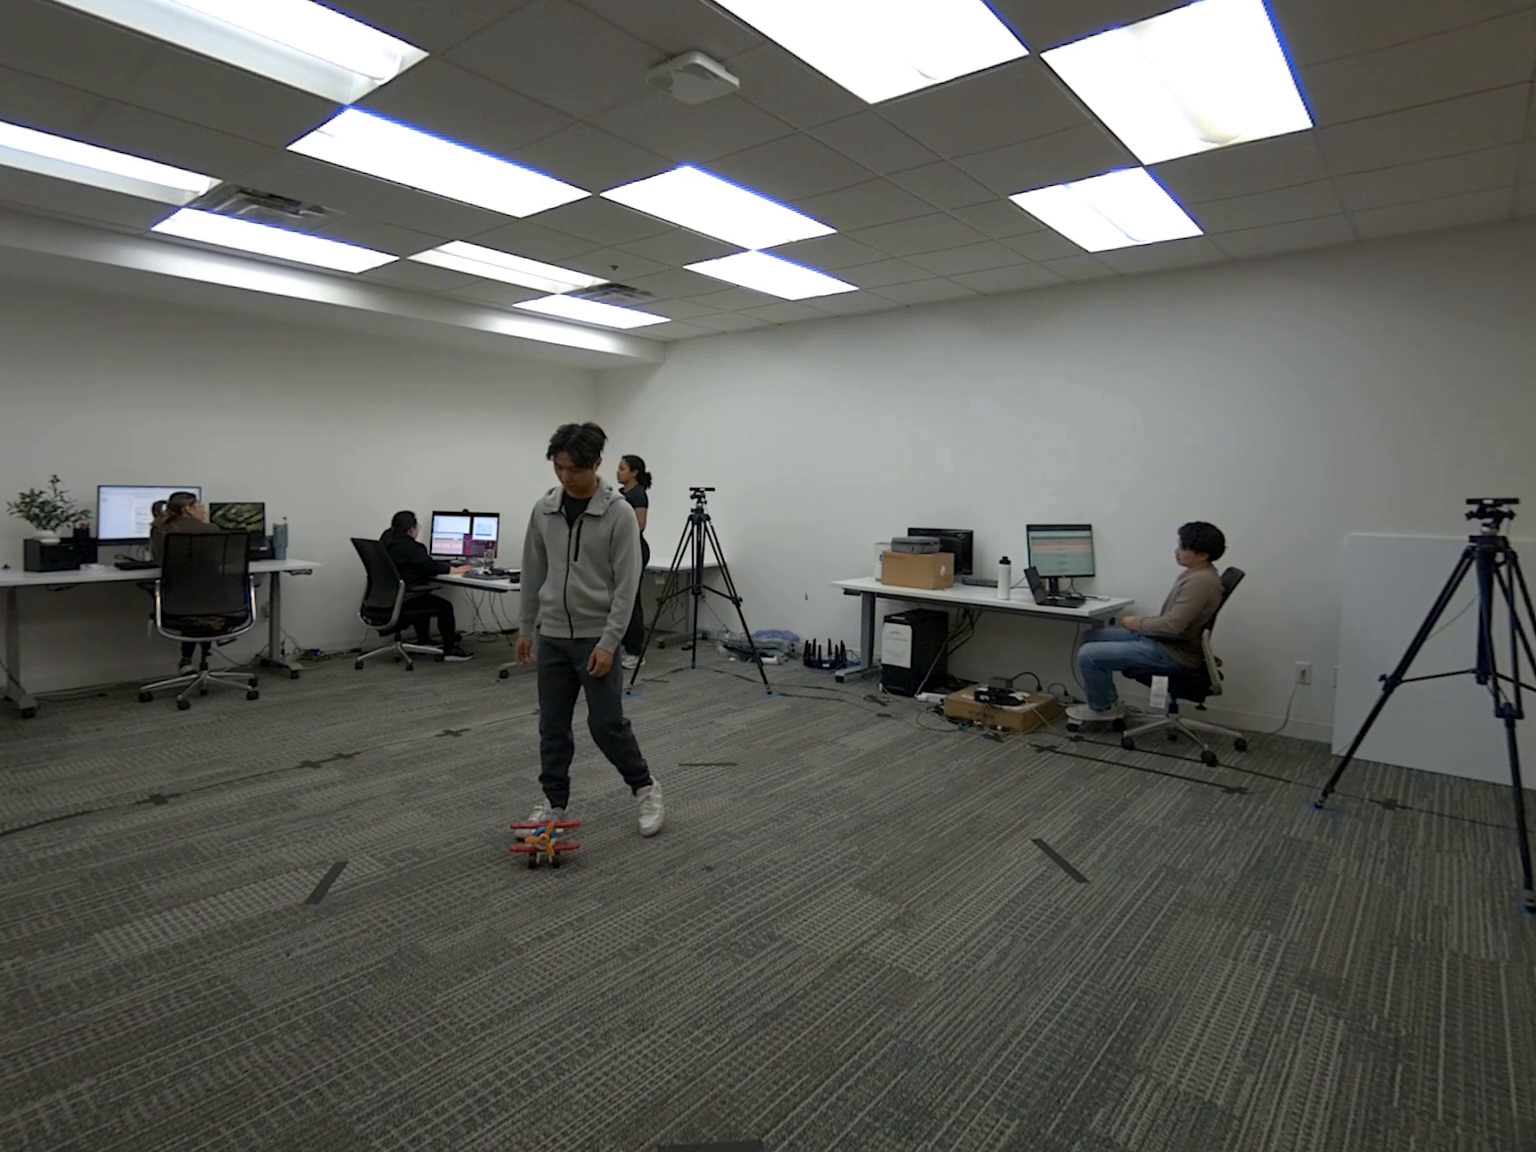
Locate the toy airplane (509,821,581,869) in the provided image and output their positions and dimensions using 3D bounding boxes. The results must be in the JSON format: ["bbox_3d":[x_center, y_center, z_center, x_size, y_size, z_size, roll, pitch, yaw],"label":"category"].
[{"bbox_3d":[-0.860,0.978,3.170,0.244,0.156,0.268,-4,7,-36],"label":"toy airplane"}]
